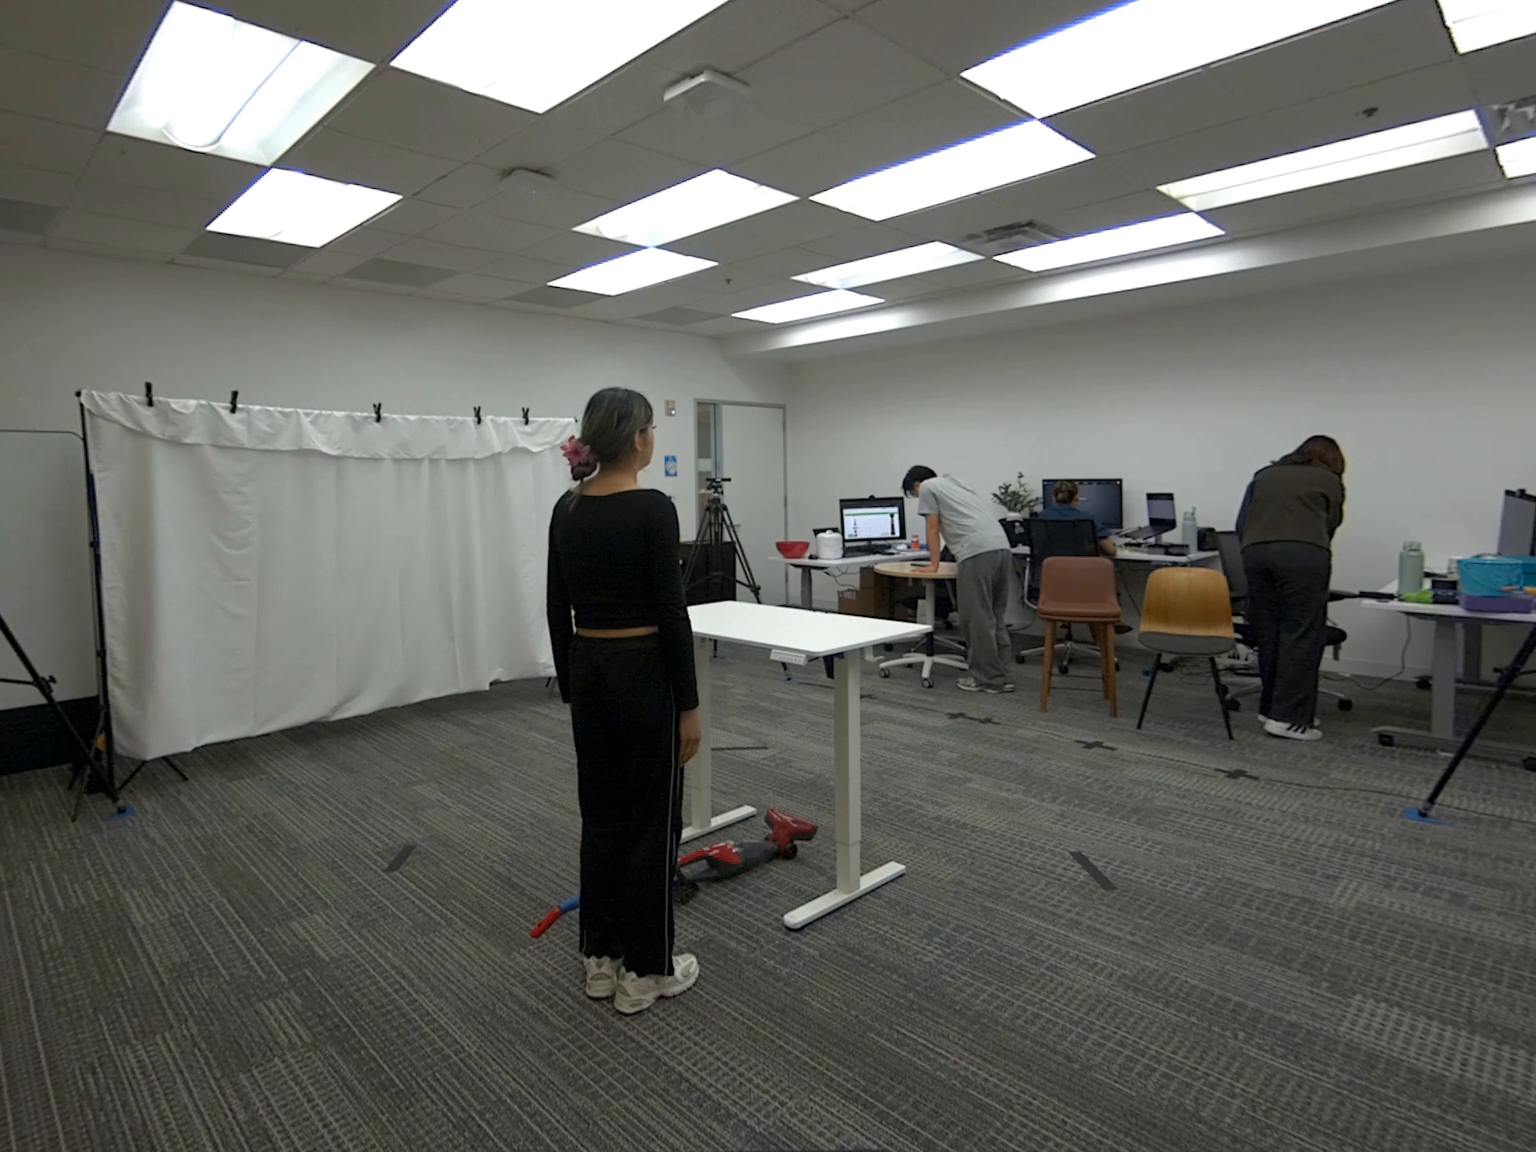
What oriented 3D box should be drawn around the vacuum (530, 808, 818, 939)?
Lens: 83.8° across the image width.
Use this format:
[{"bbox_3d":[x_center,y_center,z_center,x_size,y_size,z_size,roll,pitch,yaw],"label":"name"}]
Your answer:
[{"bbox_3d":[-0.306,1.023,2.862,1.023,0.143,0.260,-8,9,-41],"label":"vacuum"}]
